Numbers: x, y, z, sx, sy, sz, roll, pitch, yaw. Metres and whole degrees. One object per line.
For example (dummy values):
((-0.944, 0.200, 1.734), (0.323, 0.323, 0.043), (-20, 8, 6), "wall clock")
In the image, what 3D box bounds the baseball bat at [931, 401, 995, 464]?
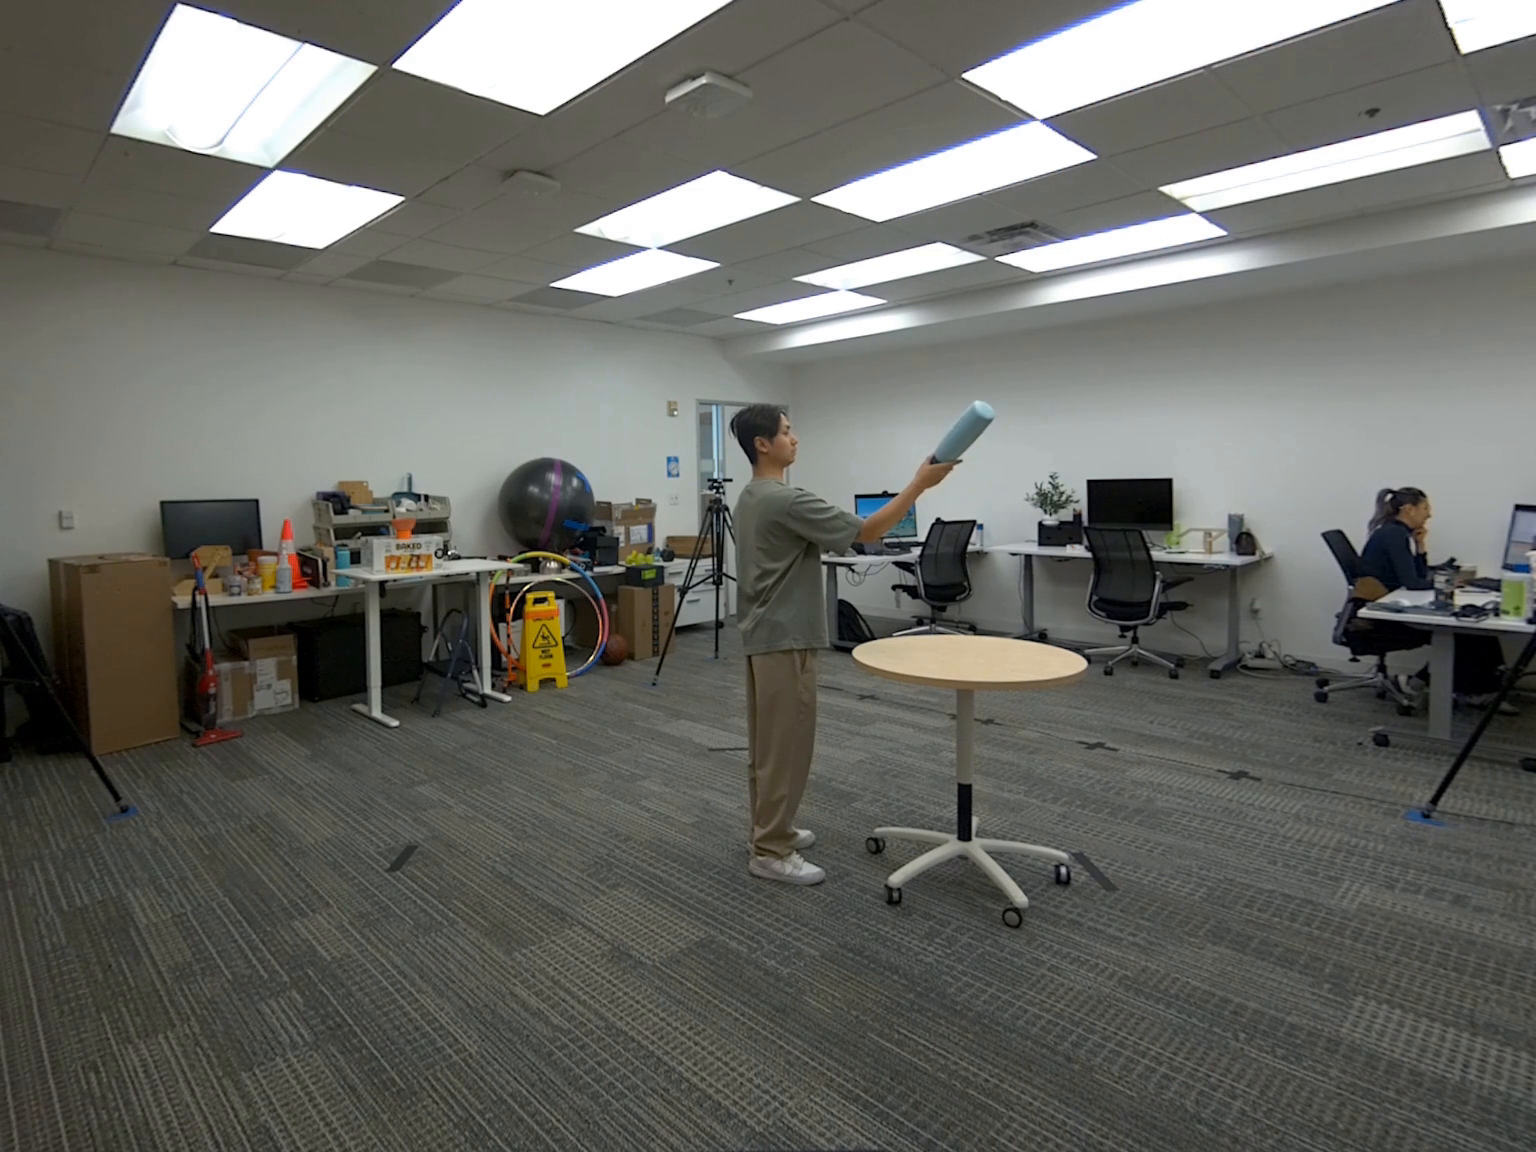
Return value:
((0.598, -0.399, 2.955), (0.087, 0.092, 0.539), (-3, -31, -27), "baseball bat")
